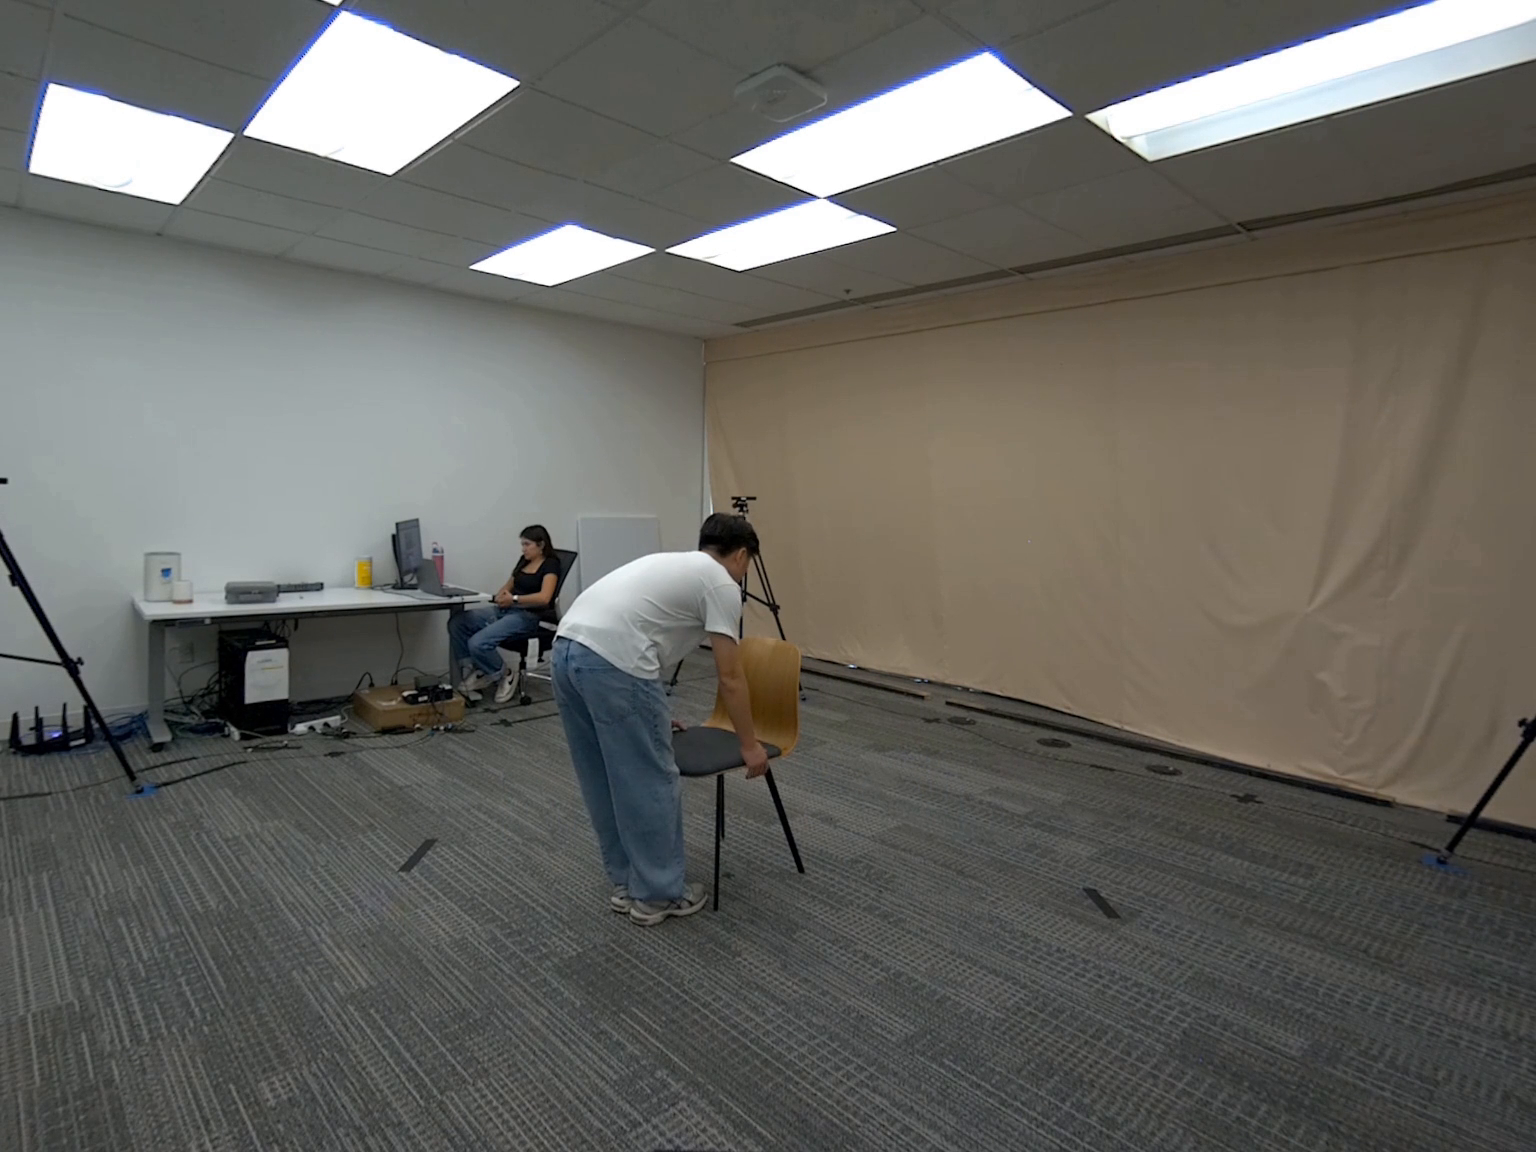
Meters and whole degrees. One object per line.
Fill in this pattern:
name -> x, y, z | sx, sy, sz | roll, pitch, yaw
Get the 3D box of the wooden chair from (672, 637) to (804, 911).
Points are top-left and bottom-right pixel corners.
wooden chair -> -0.180, 0.676, 3.115 | 0.510, 0.877, 0.490 | 4, 0, -45
